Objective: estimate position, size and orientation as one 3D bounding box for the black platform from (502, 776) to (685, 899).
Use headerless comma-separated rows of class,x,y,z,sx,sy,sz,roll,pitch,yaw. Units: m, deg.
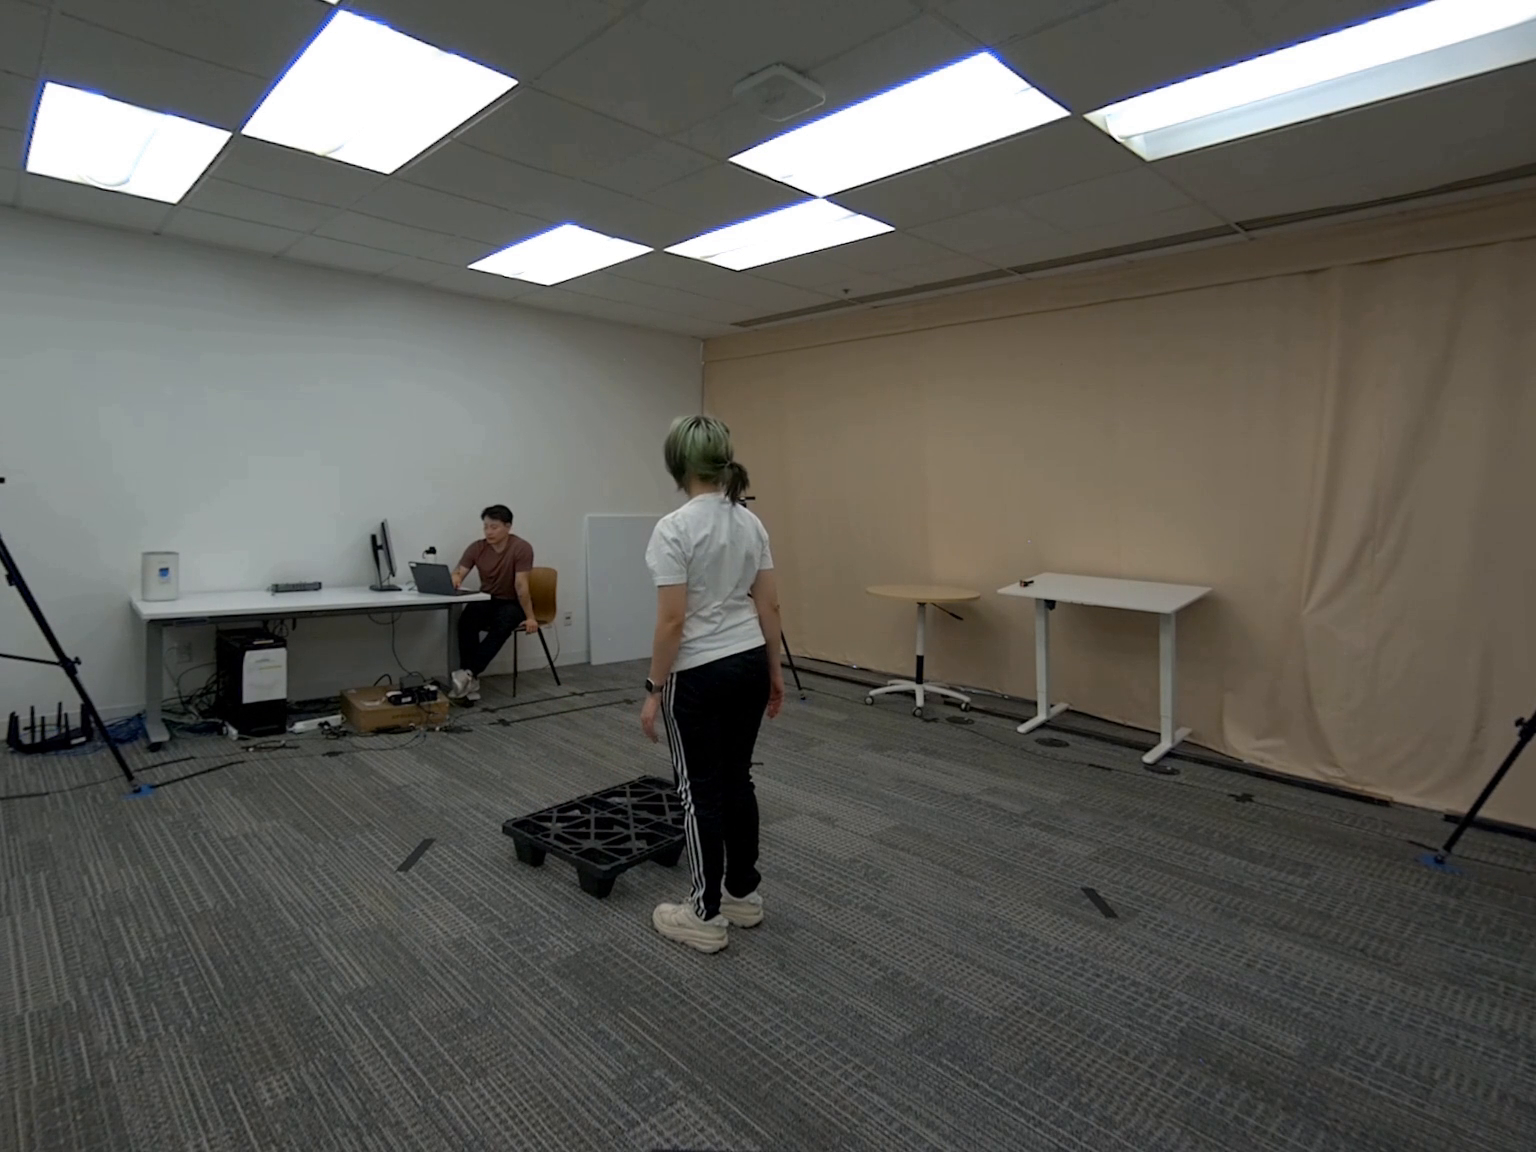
black platform,-0.546,1.008,3.320,0.620,0.143,0.788,6,7,38
